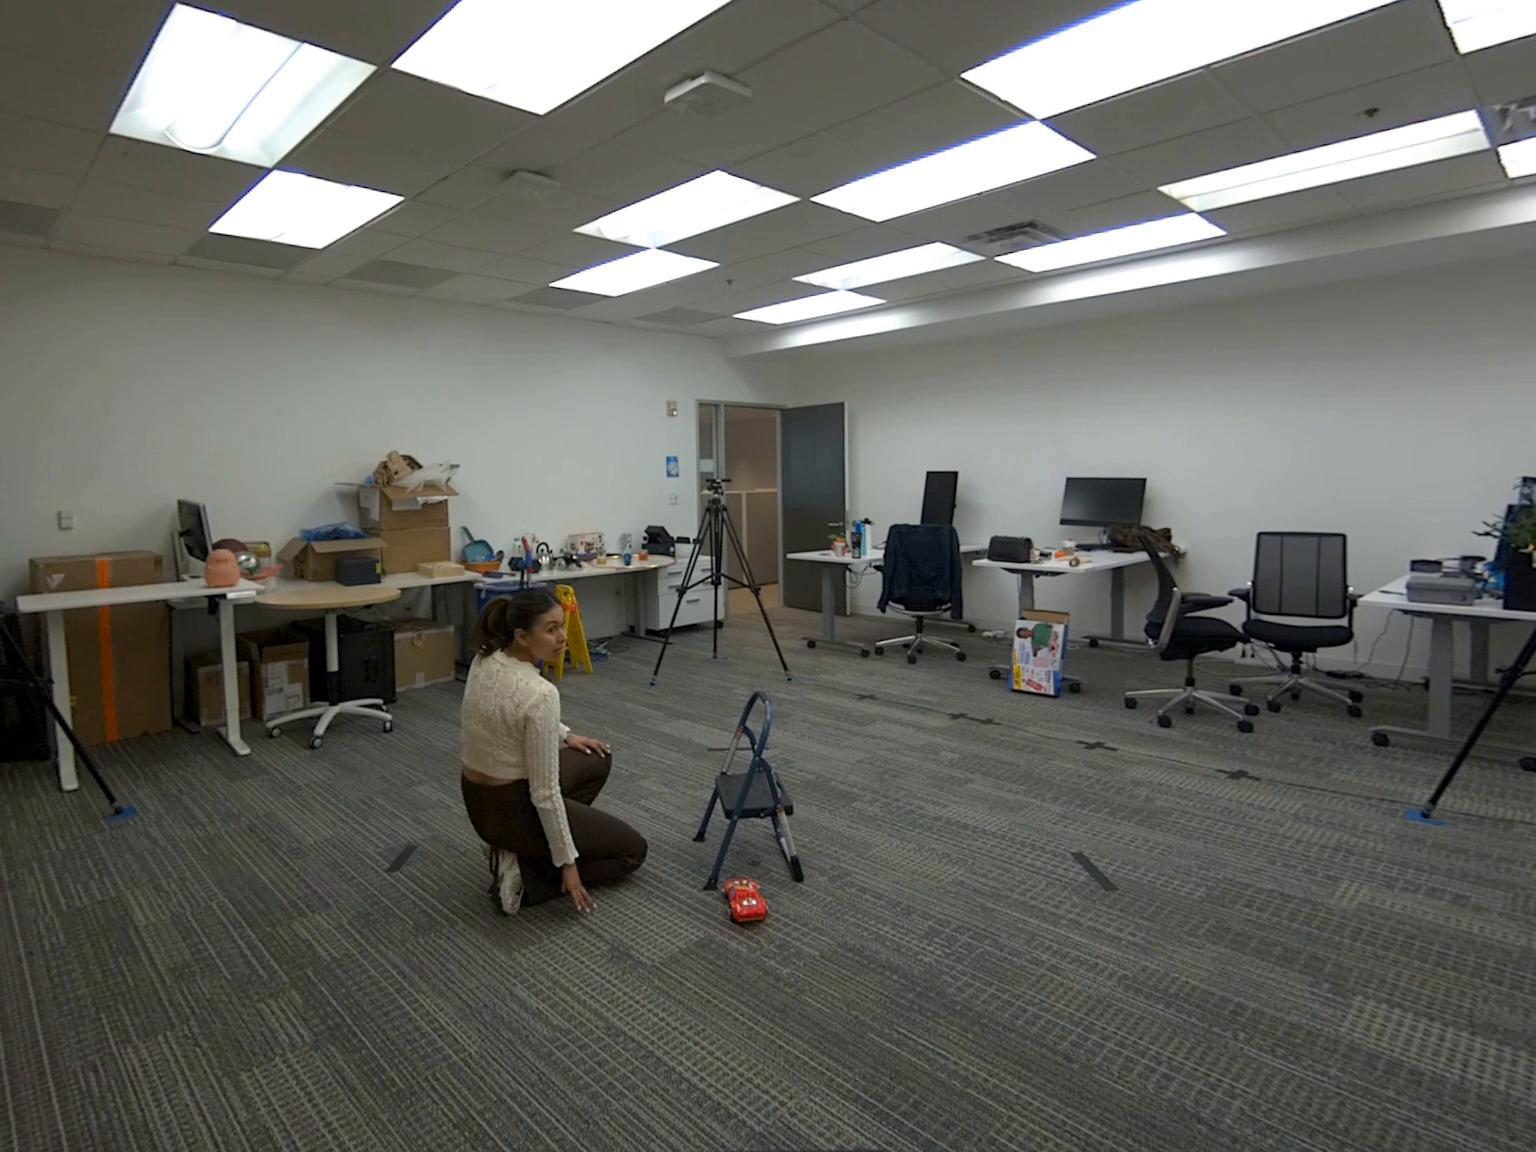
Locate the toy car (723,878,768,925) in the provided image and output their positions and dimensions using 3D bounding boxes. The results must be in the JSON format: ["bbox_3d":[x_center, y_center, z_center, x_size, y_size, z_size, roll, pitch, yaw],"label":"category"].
[{"bbox_3d":[-0.079,1.047,2.759,0.129,0.084,0.255,-2,-4,-9],"label":"toy car"}]
